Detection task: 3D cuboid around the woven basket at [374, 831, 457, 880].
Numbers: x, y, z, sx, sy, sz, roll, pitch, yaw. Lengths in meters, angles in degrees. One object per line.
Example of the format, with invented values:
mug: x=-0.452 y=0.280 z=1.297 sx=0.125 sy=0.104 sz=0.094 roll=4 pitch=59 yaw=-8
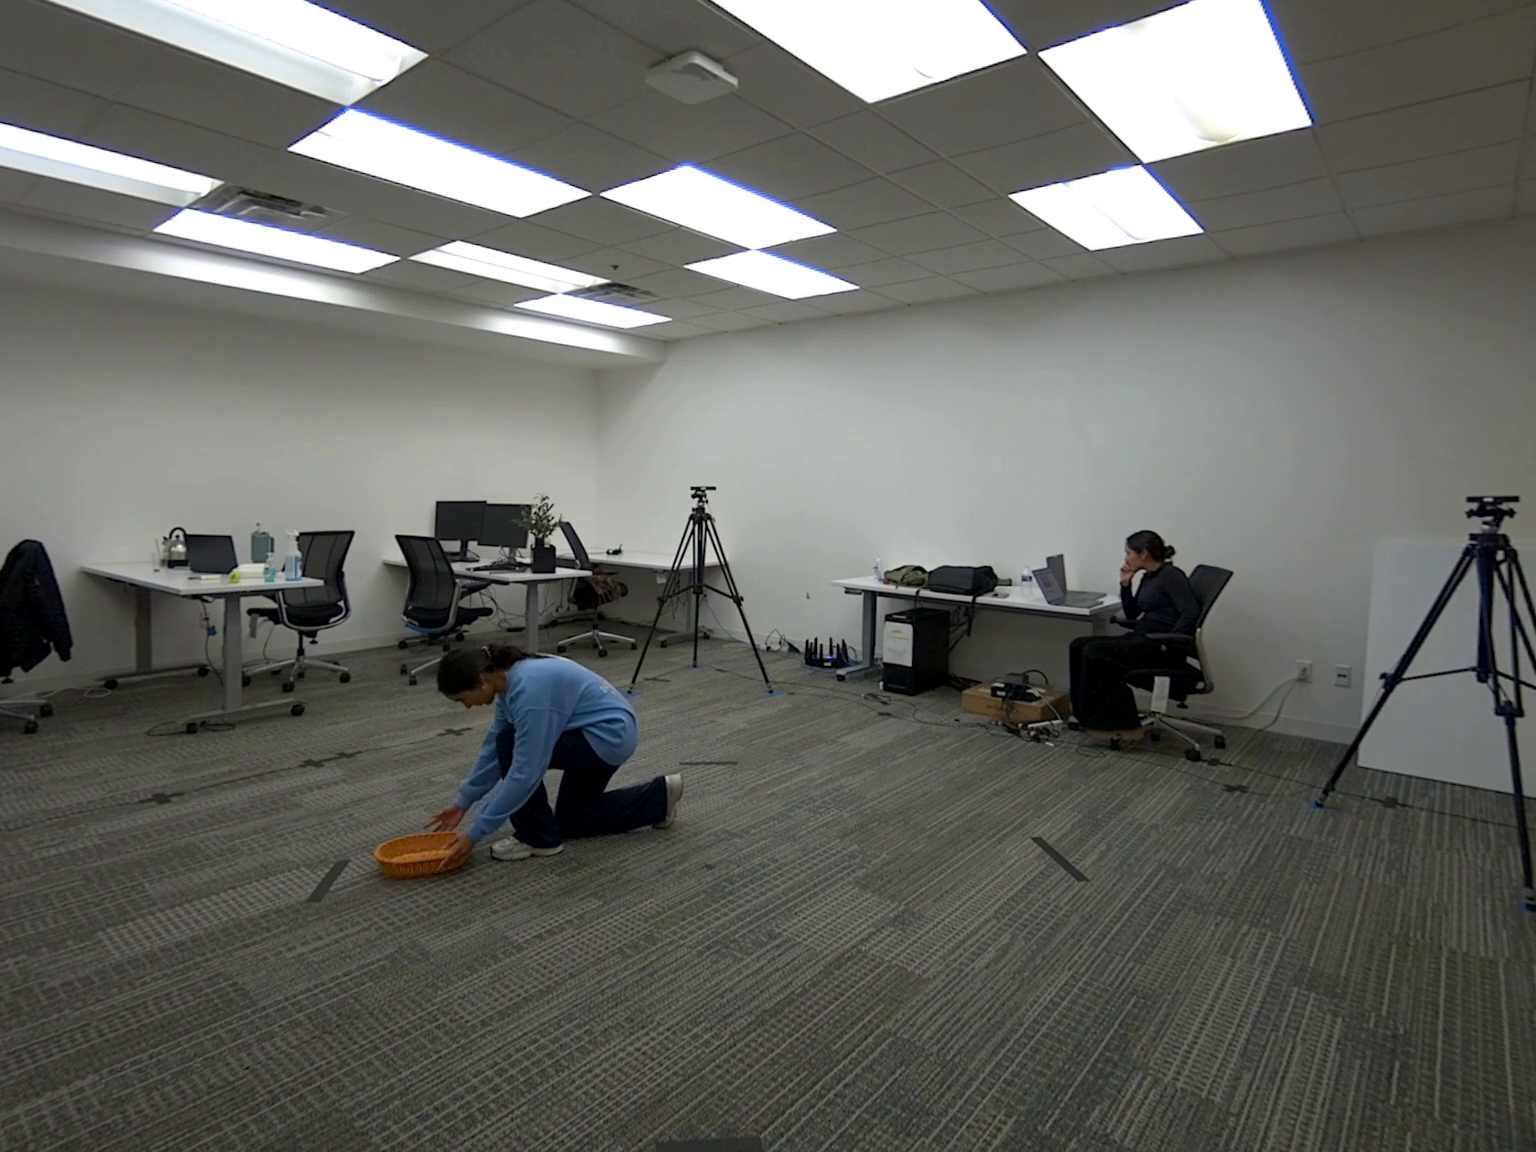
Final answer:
woven basket: x=-1.258 y=1.008 z=3.108 sx=0.347 sy=0.073 sz=0.255 roll=-2 pitch=4 yaw=-10
